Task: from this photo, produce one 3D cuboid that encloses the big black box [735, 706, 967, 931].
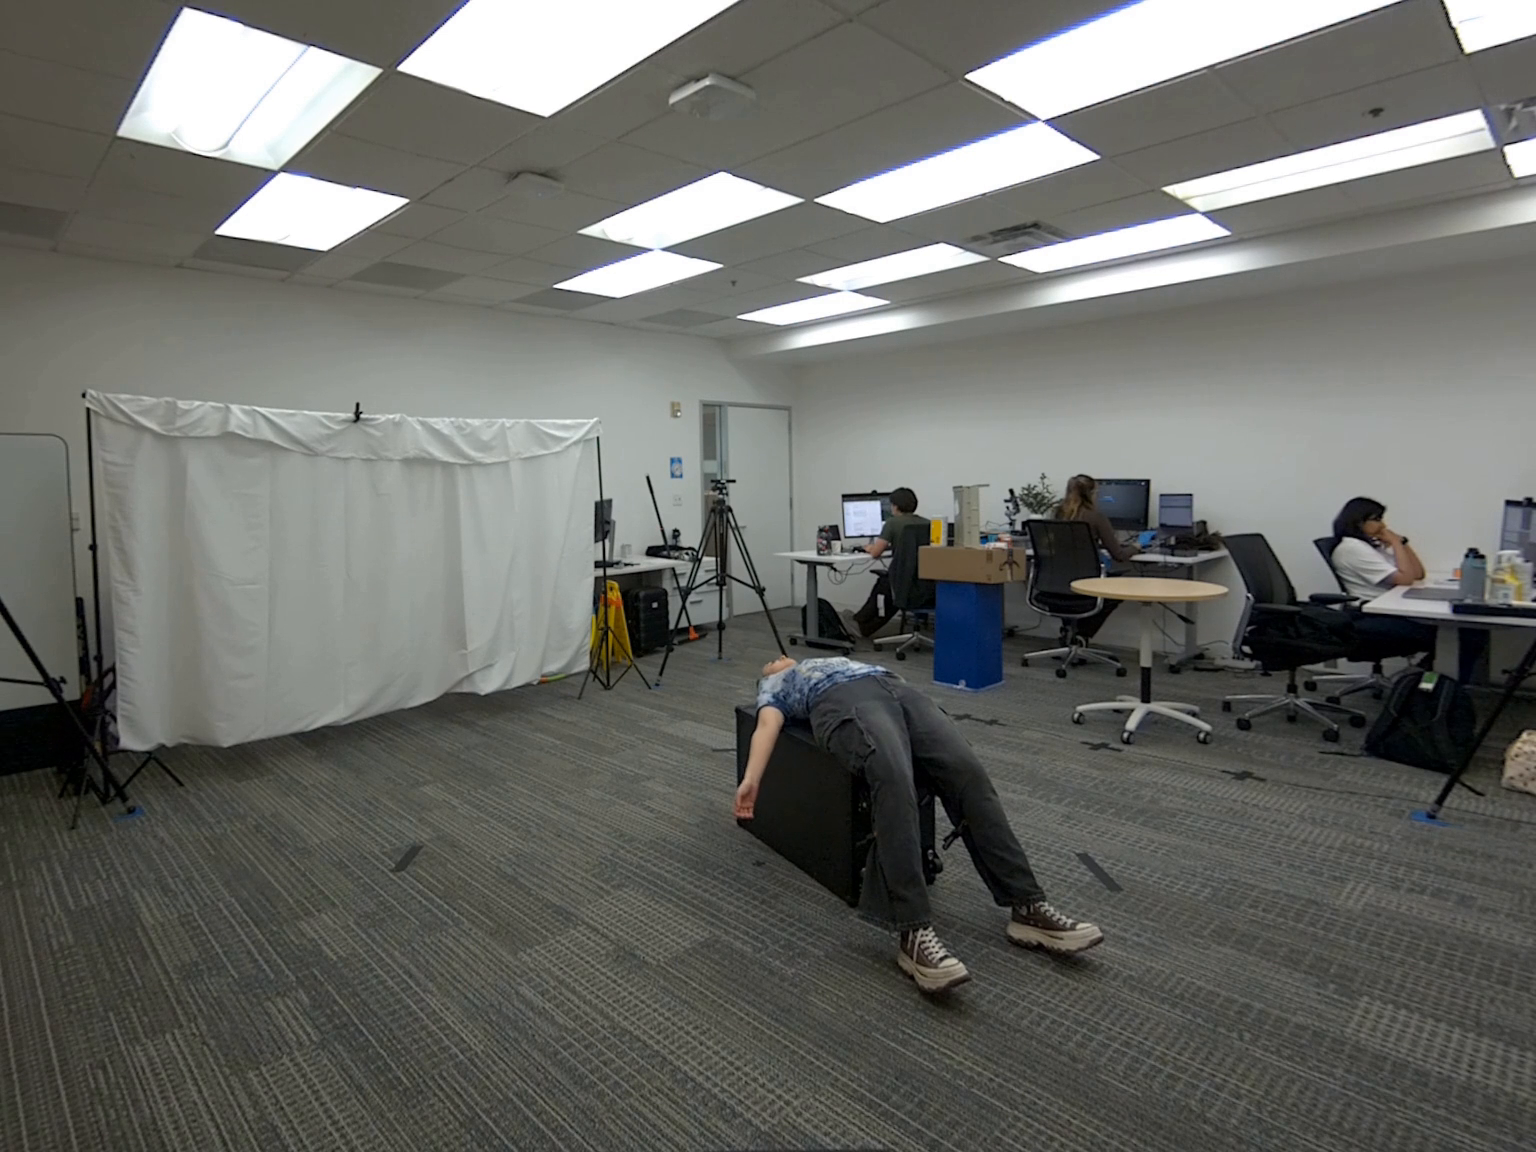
[{"bbox_3d":[0.248,0.794,3.160,0.387,0.519,0.885,-3,6,-28],"label":"big black box"}]
